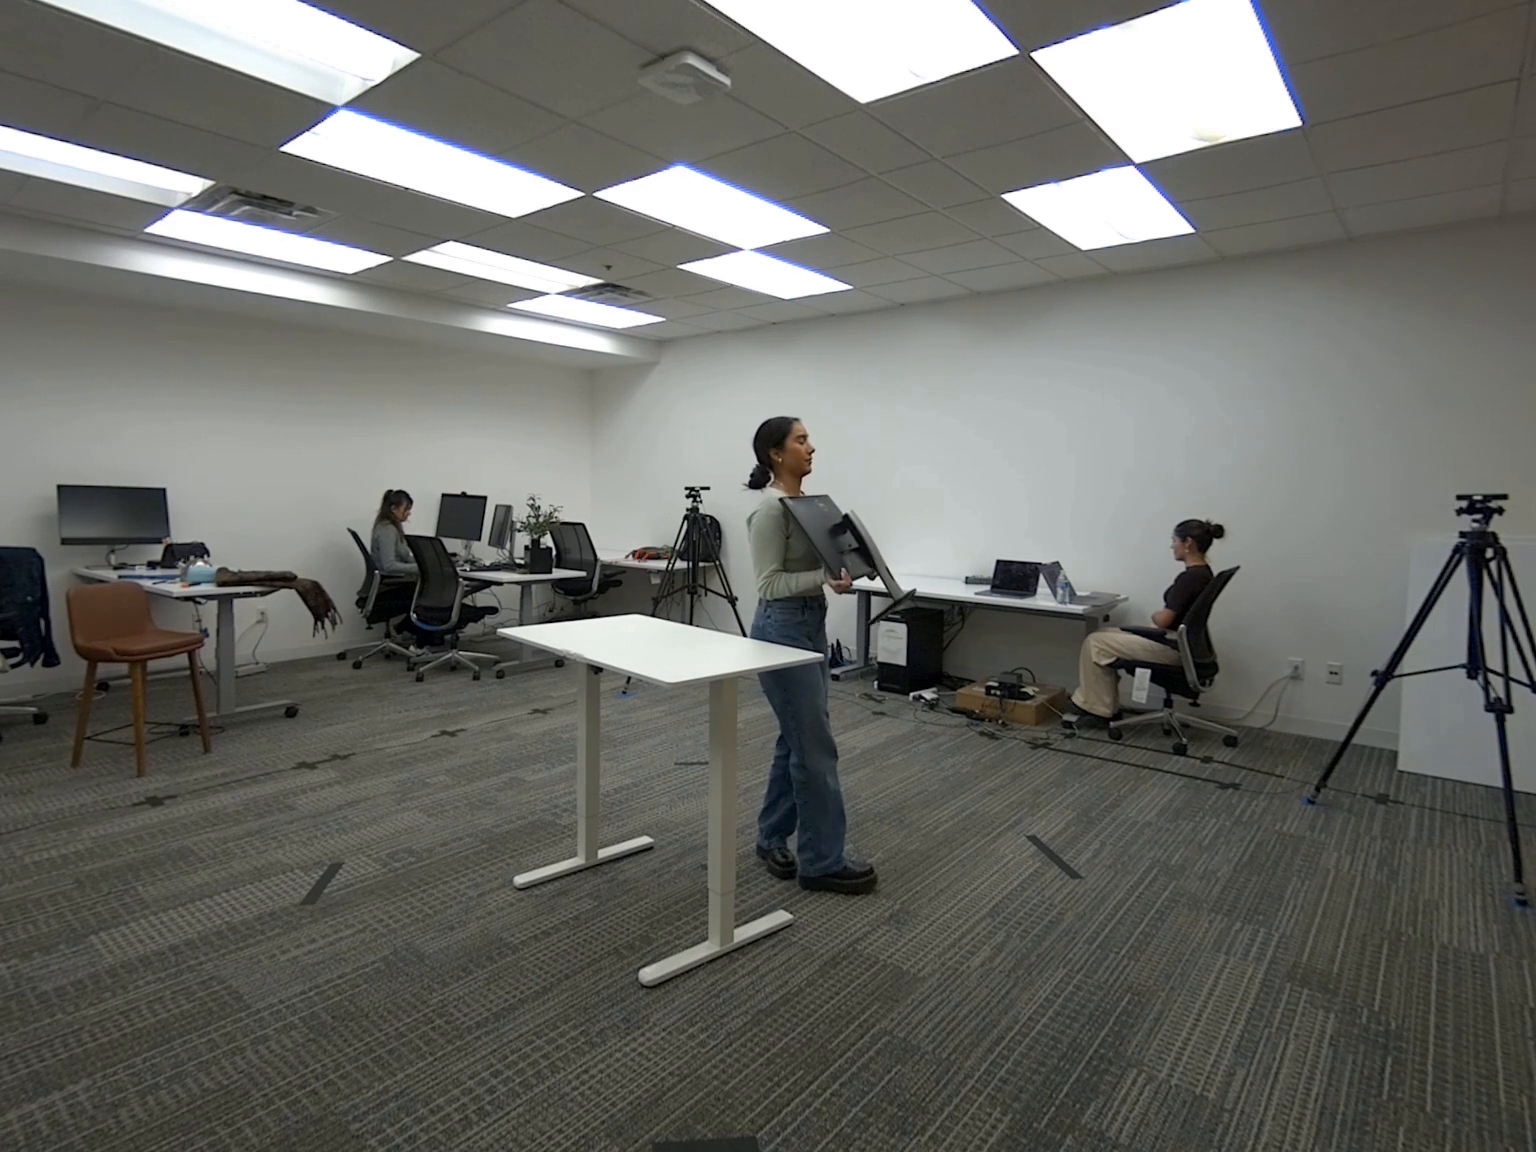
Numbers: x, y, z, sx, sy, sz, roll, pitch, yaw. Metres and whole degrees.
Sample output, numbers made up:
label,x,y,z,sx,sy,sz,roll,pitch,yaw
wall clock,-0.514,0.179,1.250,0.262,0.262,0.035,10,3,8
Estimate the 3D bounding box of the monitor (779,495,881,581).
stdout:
label,x,y,z,sx,sy,sz,roll,pitch,yaw
monitor,0.289,-0.087,2.983,0.187,0.533,0.529,-45,-12,18
